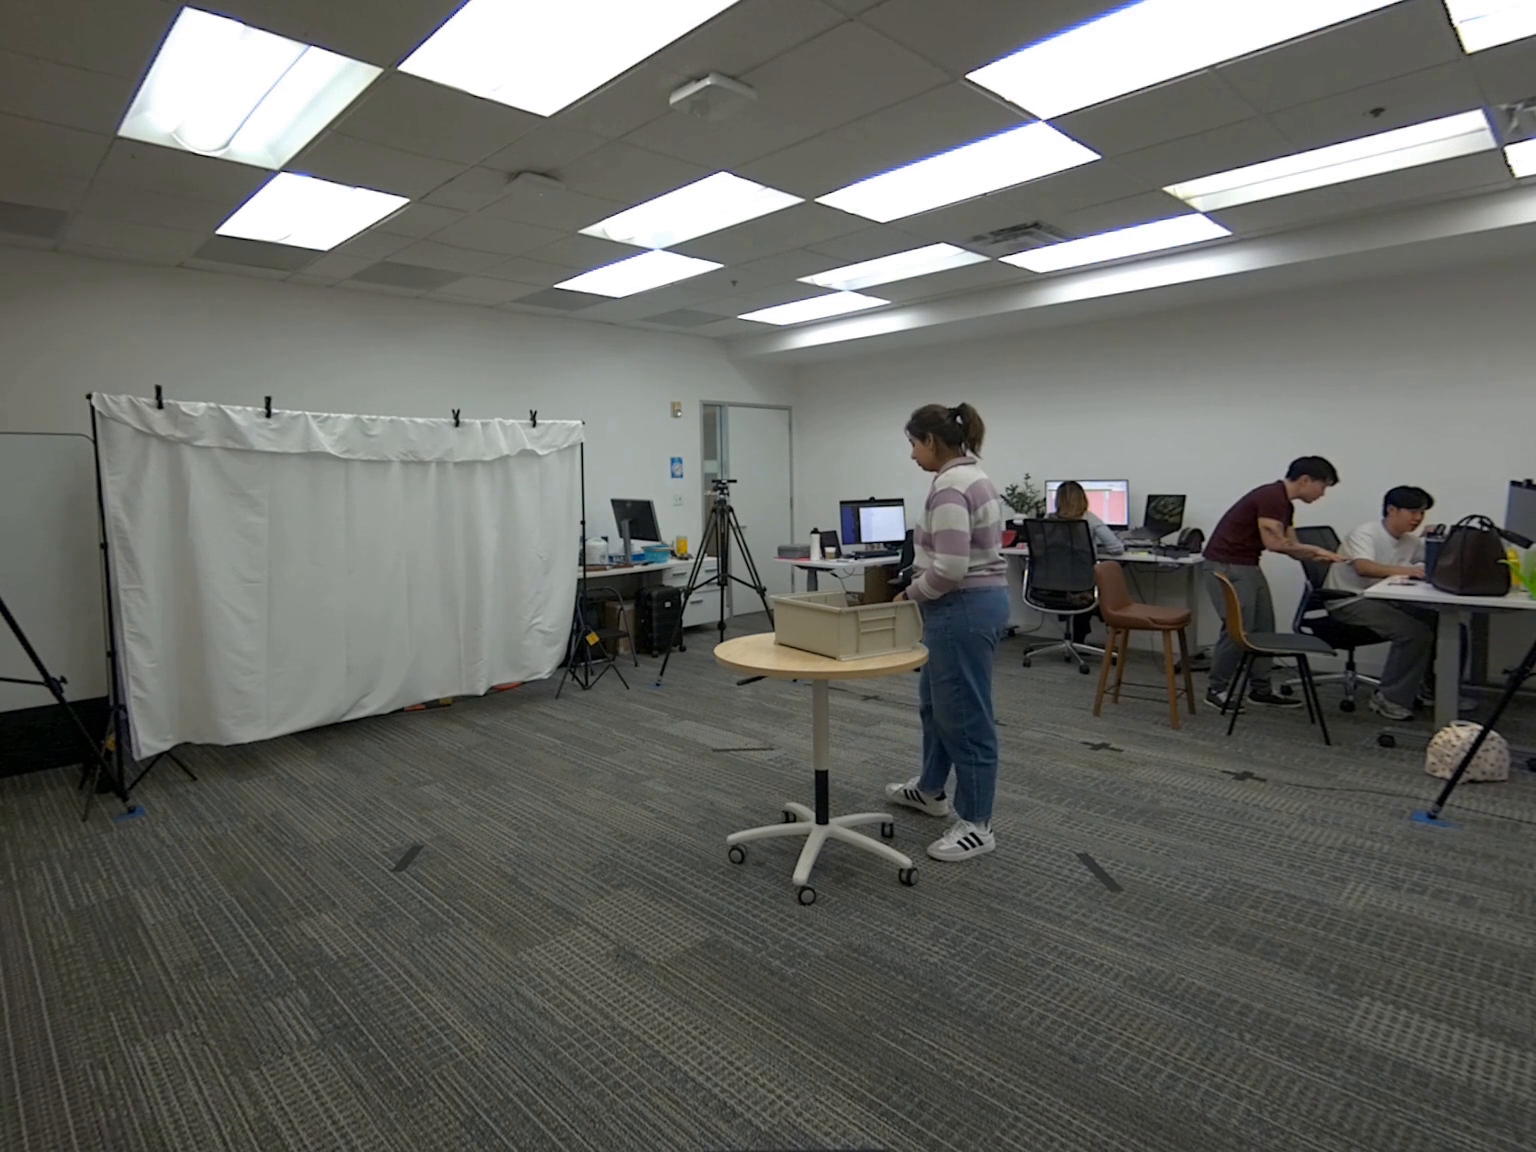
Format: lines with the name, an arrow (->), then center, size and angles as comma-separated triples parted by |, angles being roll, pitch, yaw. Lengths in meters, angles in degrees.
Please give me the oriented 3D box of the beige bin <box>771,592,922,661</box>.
beige bin -> 0.284, 0.167, 3.104 | 0.369, 0.188, 0.435 | -6, 9, -31
